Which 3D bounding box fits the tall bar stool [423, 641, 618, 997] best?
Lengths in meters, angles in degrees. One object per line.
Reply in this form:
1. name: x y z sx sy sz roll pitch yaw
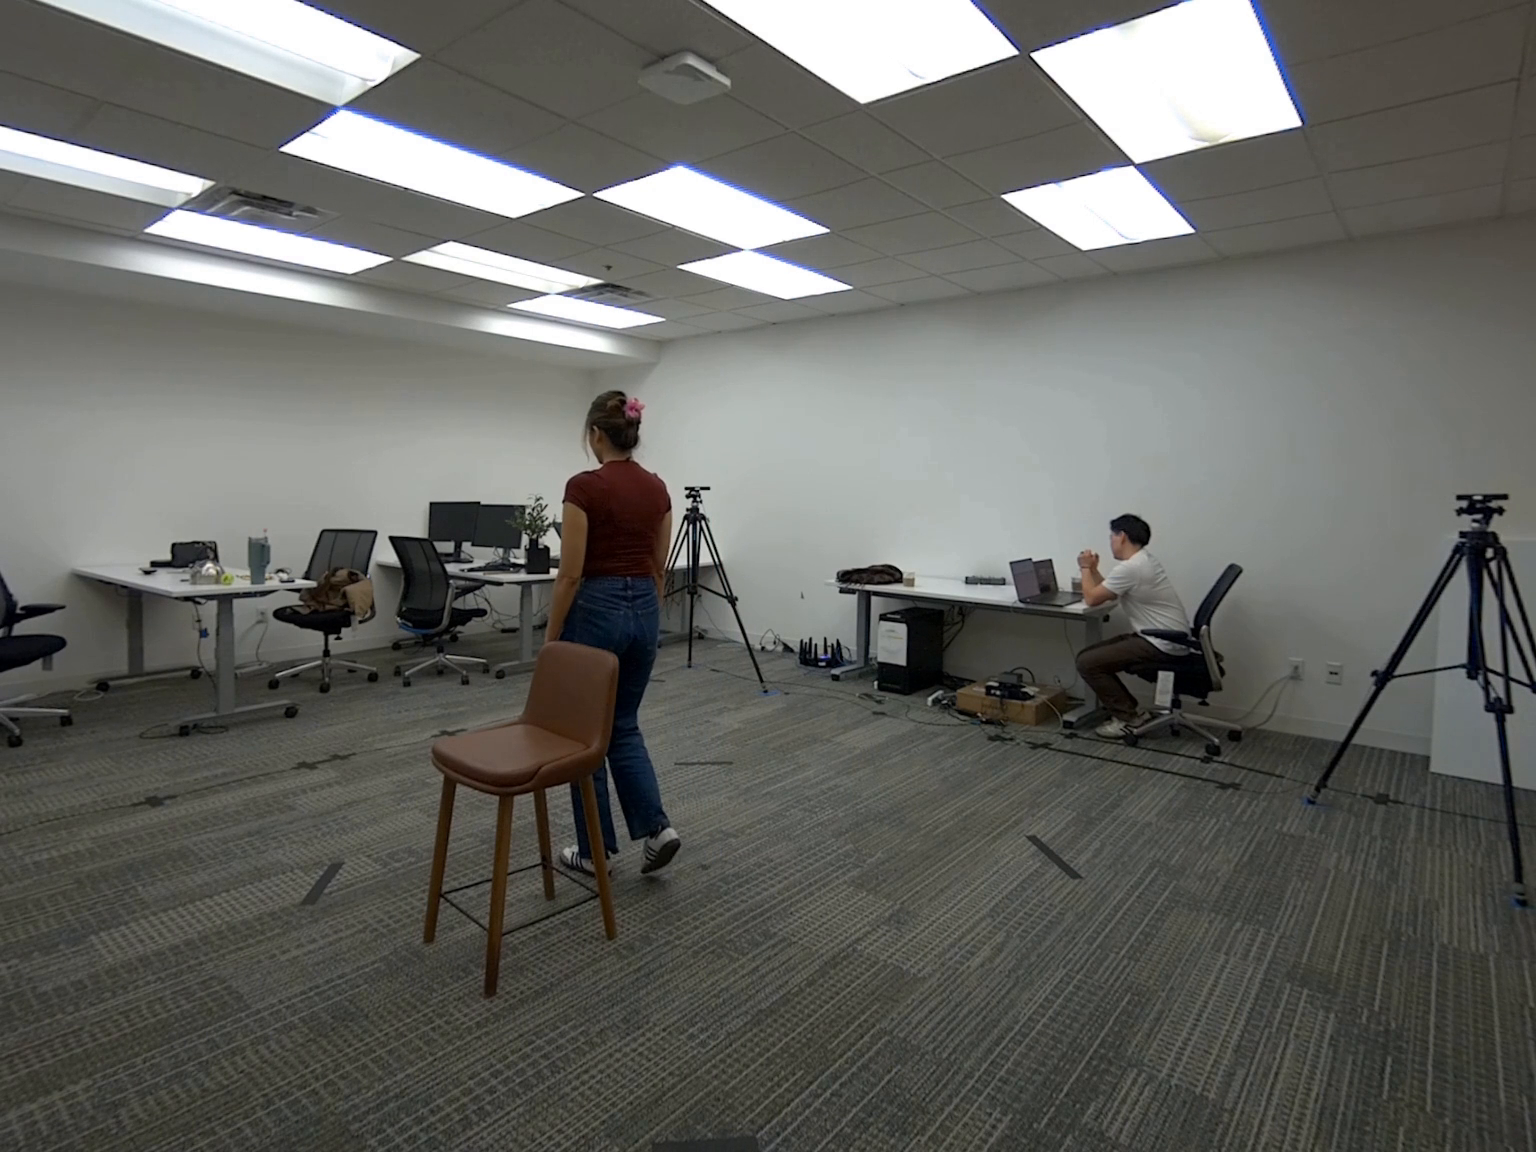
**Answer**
1. tall bar stool: -0.750 0.676 2.578 0.472 0.888 0.453 4 3 44
